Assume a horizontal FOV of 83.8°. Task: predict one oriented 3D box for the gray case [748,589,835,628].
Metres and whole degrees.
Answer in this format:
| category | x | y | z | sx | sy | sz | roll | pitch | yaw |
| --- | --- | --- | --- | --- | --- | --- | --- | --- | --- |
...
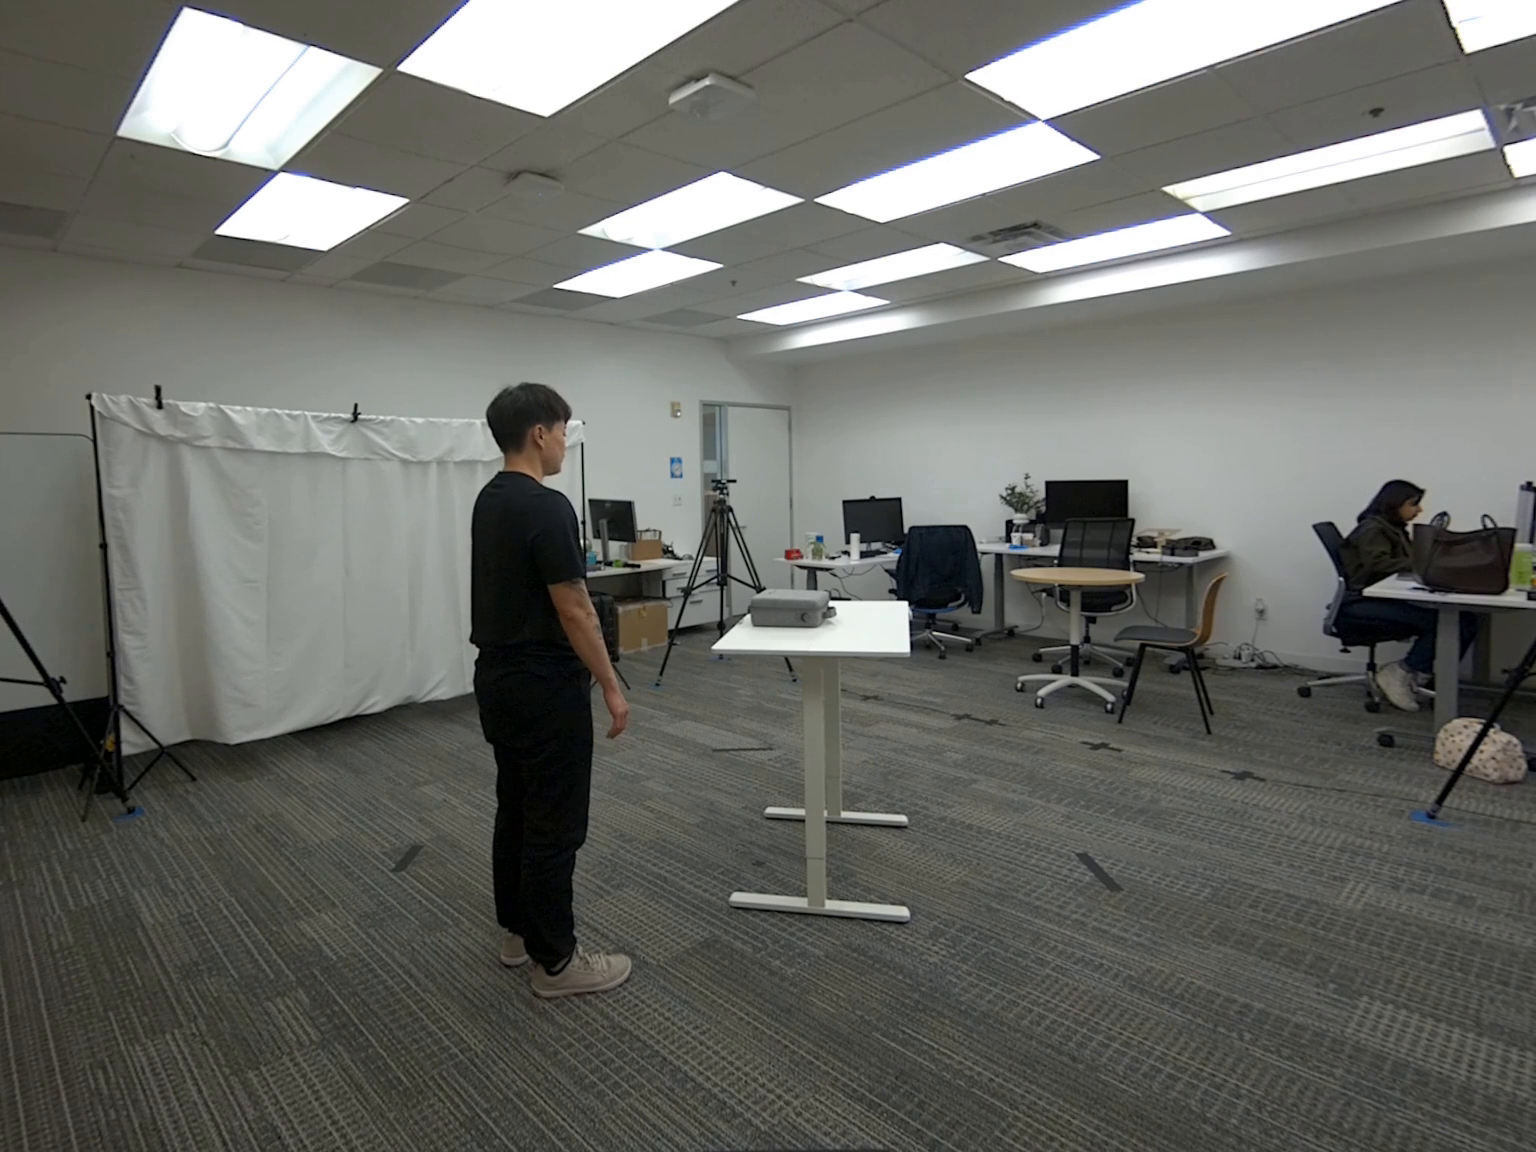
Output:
| category | x | y | z | sx | sy | sz | roll | pitch | yaw |
| --- | --- | --- | --- | --- | --- | --- | --- | --- | --- |
| gray case | 0.091 | 0.111 | 3.085 | 0.264 | 0.104 | 0.254 | 1 | 6 | 15 |
